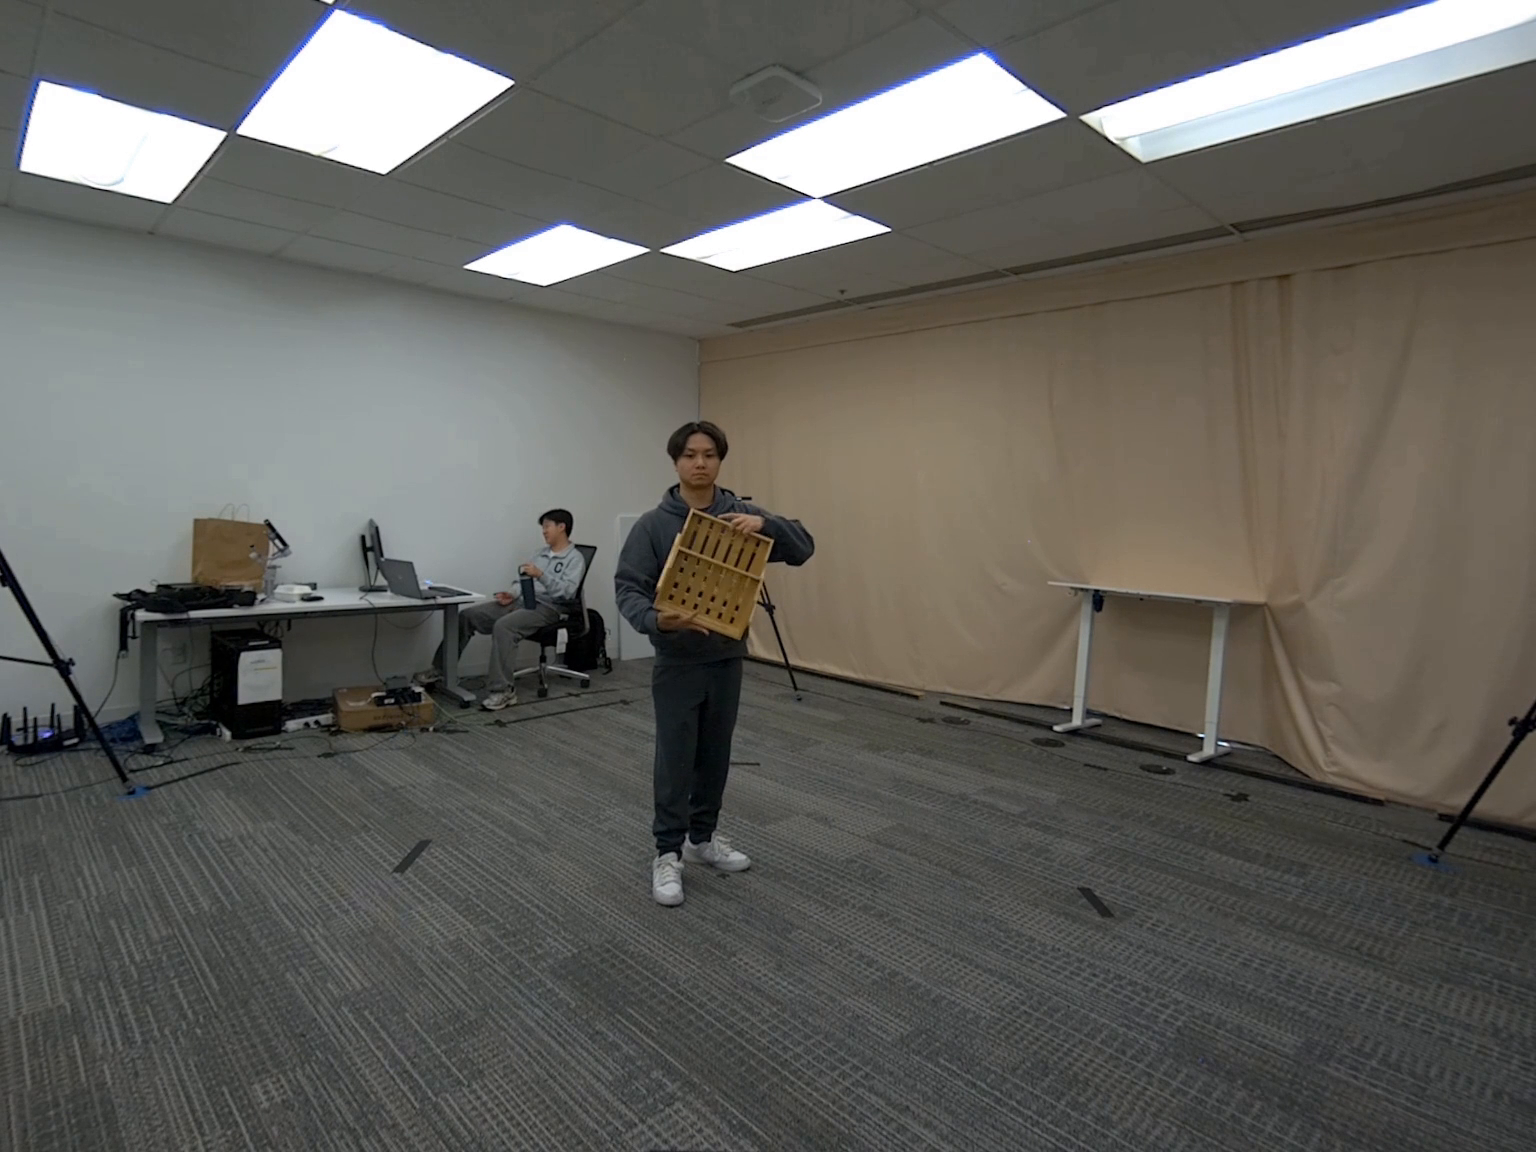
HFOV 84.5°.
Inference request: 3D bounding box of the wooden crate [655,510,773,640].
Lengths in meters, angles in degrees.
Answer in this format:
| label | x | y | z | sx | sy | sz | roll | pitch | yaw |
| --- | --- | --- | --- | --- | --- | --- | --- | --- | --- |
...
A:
| label | x | y | z | sx | sy | sz | roll | pitch | yaw |
| --- | --- | --- | --- | --- | --- | --- | --- | --- | --- |
| wooden crate | -0.187 | -0.013 | 2.786 | 0.323 | 0.300 | 0.276 | 20 | 15 | -4 |
